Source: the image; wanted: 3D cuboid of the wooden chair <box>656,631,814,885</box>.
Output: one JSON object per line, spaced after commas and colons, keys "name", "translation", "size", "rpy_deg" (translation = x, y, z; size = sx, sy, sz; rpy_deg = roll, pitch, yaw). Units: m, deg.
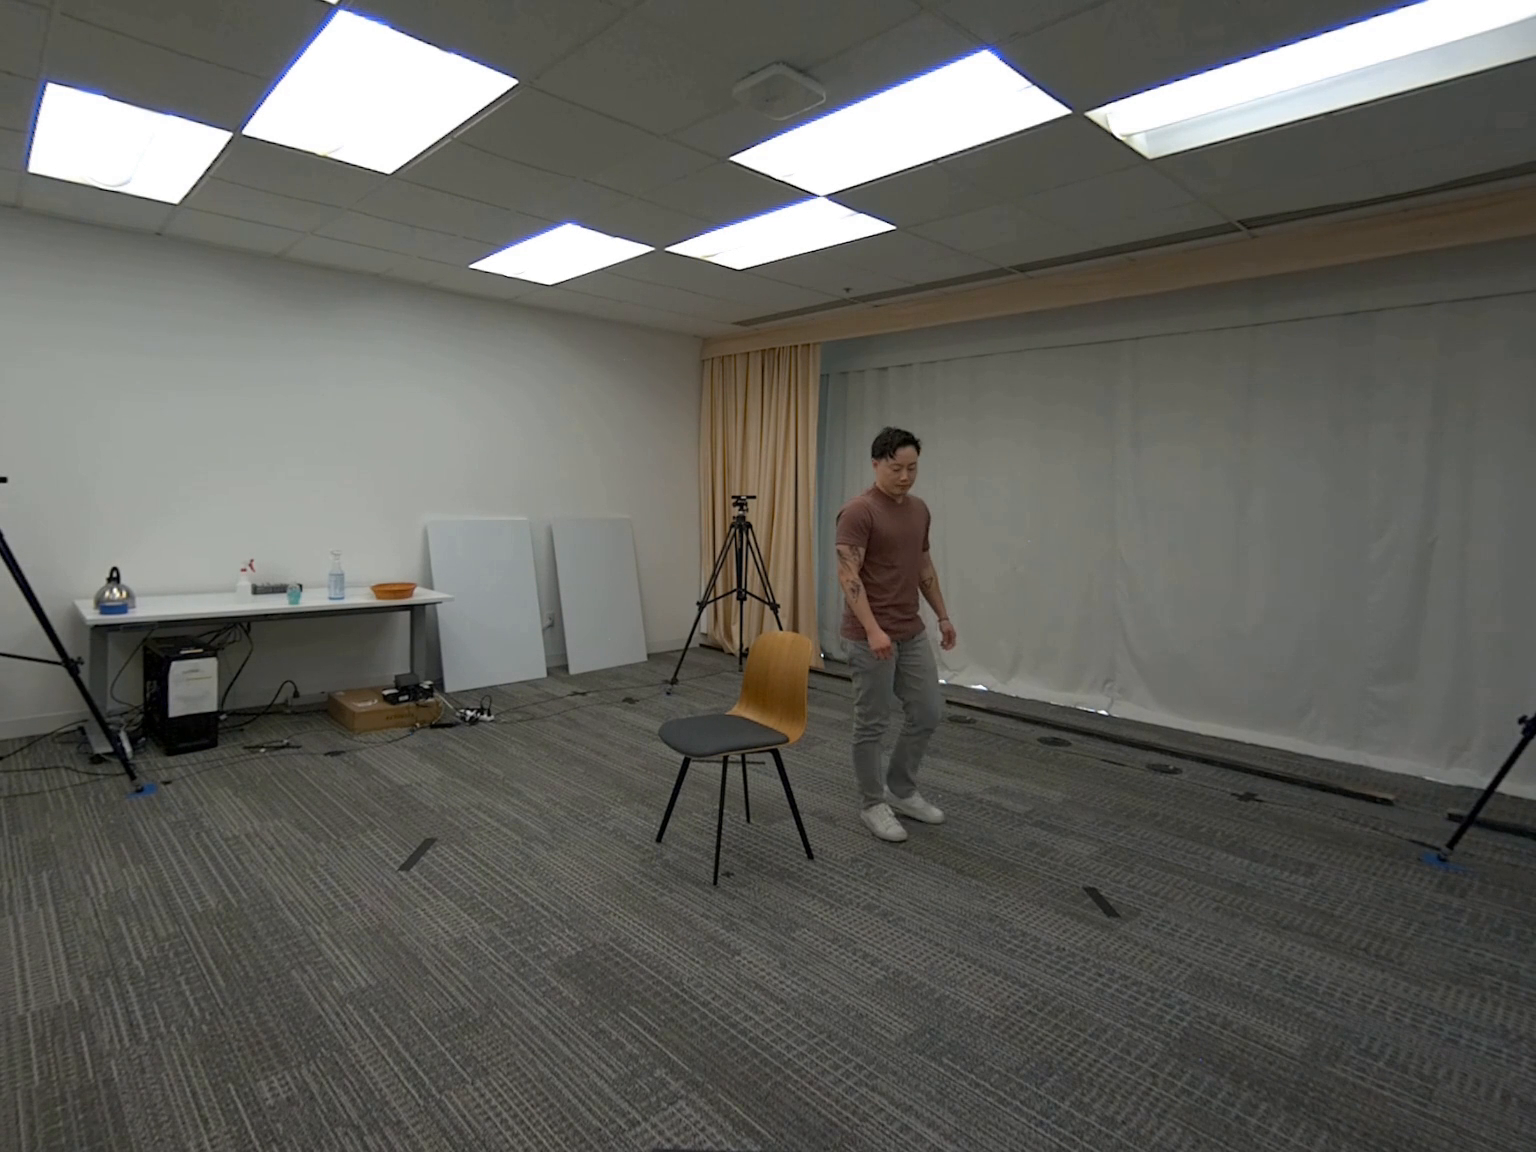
{"name": "wooden chair", "translation": [-0.138, 0.660, 3.279], "size": [0.511, 0.877, 0.489], "rpy_deg": [4, 1, -35]}
